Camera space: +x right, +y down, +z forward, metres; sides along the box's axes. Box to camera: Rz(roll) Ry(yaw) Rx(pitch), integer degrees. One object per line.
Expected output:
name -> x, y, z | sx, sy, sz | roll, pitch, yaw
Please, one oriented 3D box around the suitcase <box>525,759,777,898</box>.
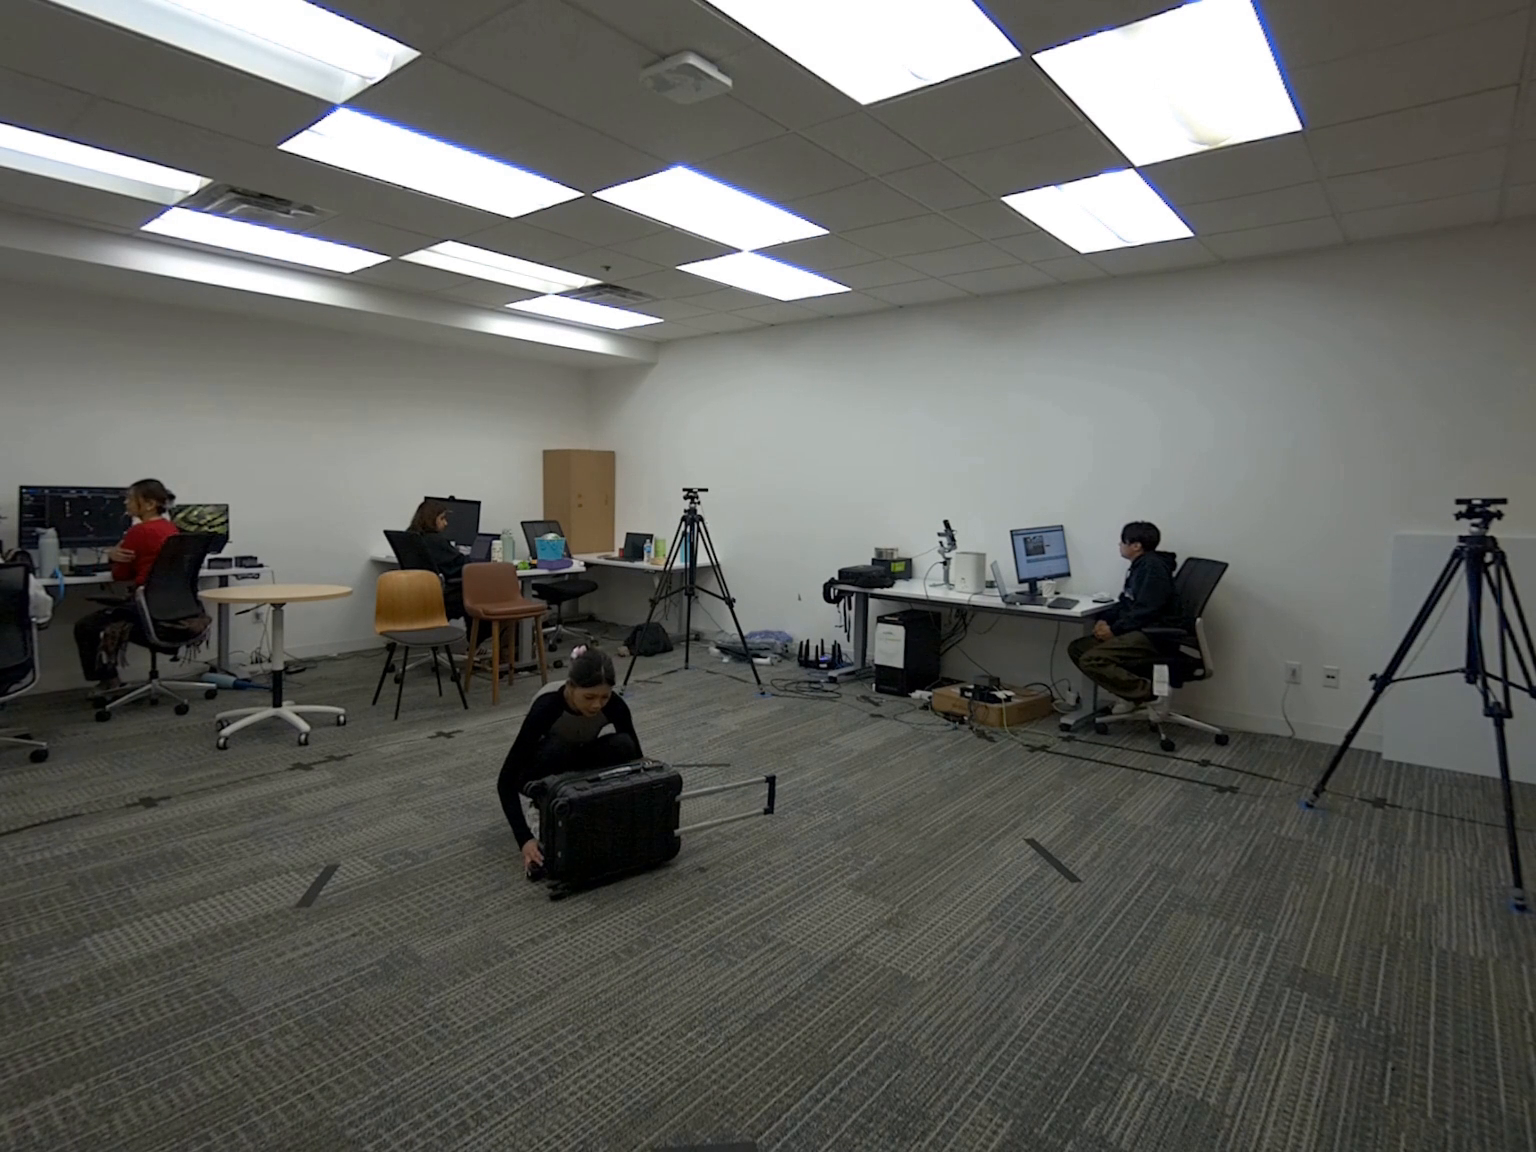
suitcase -> -0.427, 0.870, 3.199 | 0.950, 0.382, 0.266 | -3, 8, -39
